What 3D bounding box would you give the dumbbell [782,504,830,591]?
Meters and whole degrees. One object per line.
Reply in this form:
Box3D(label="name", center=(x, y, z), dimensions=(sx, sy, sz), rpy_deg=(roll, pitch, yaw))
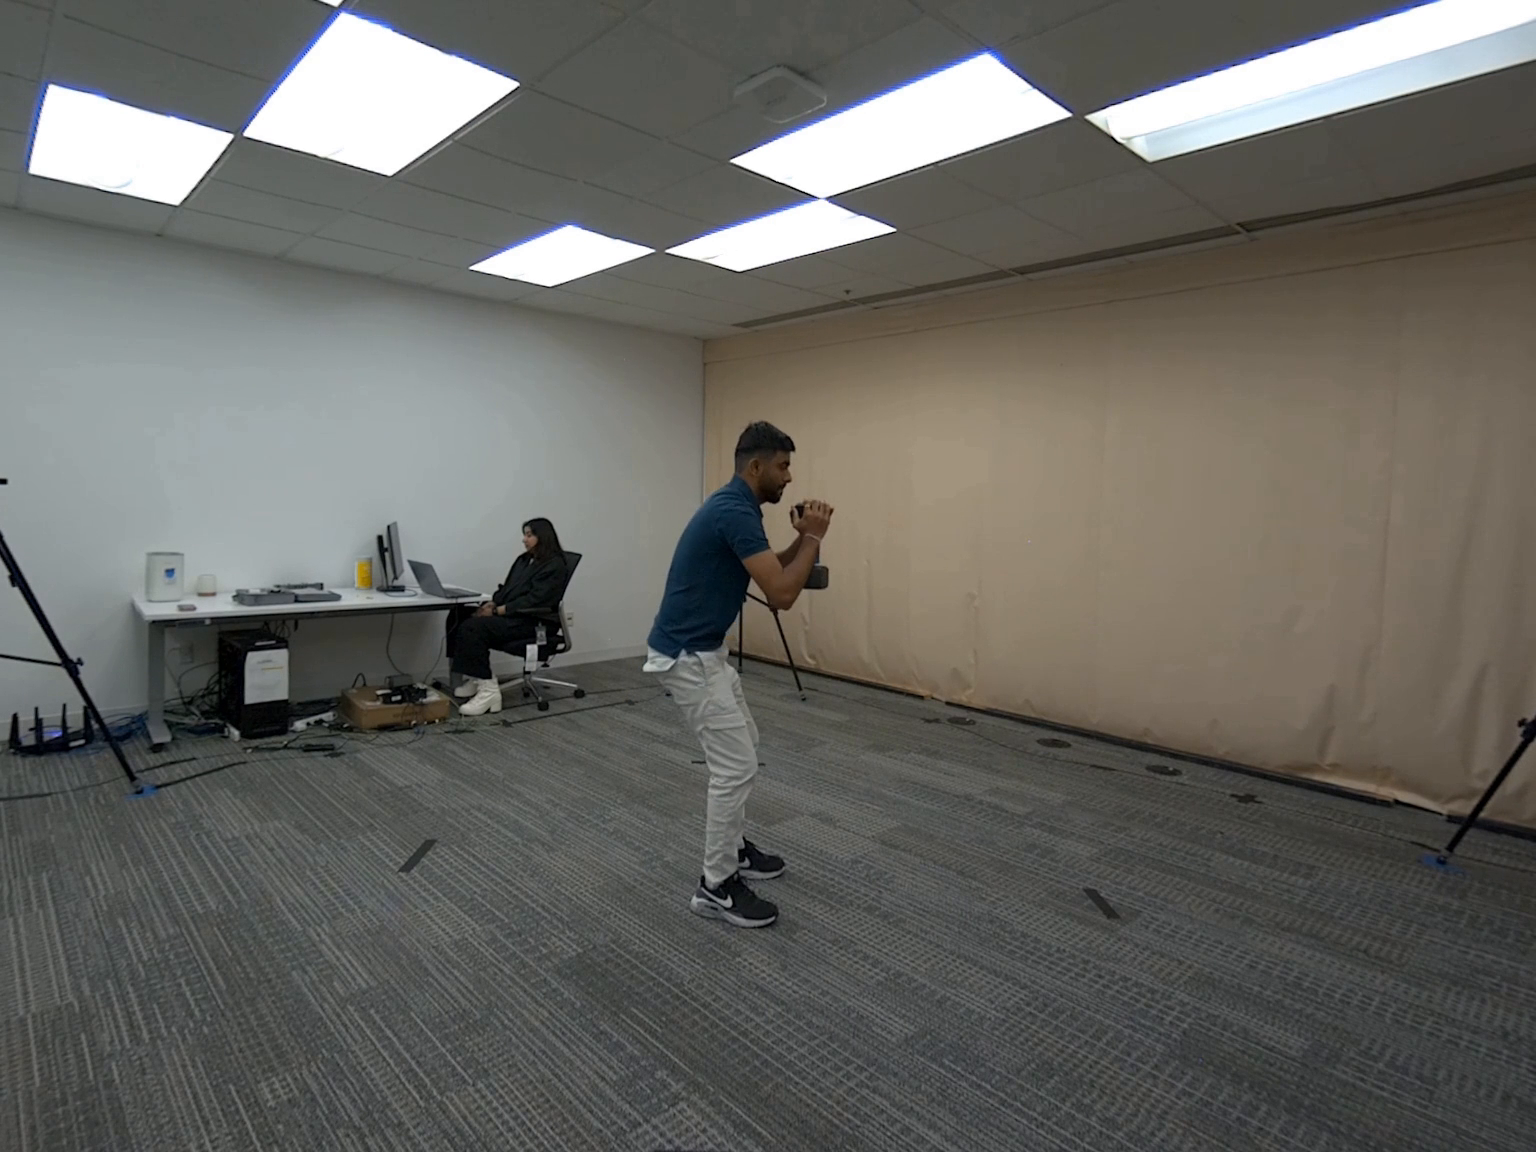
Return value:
Box3D(label="dumbbell", center=(0.142, -0.093, 2.853), dimensions=(0.123, 0.293, 0.108), rpy_deg=(1, 0, 1))
